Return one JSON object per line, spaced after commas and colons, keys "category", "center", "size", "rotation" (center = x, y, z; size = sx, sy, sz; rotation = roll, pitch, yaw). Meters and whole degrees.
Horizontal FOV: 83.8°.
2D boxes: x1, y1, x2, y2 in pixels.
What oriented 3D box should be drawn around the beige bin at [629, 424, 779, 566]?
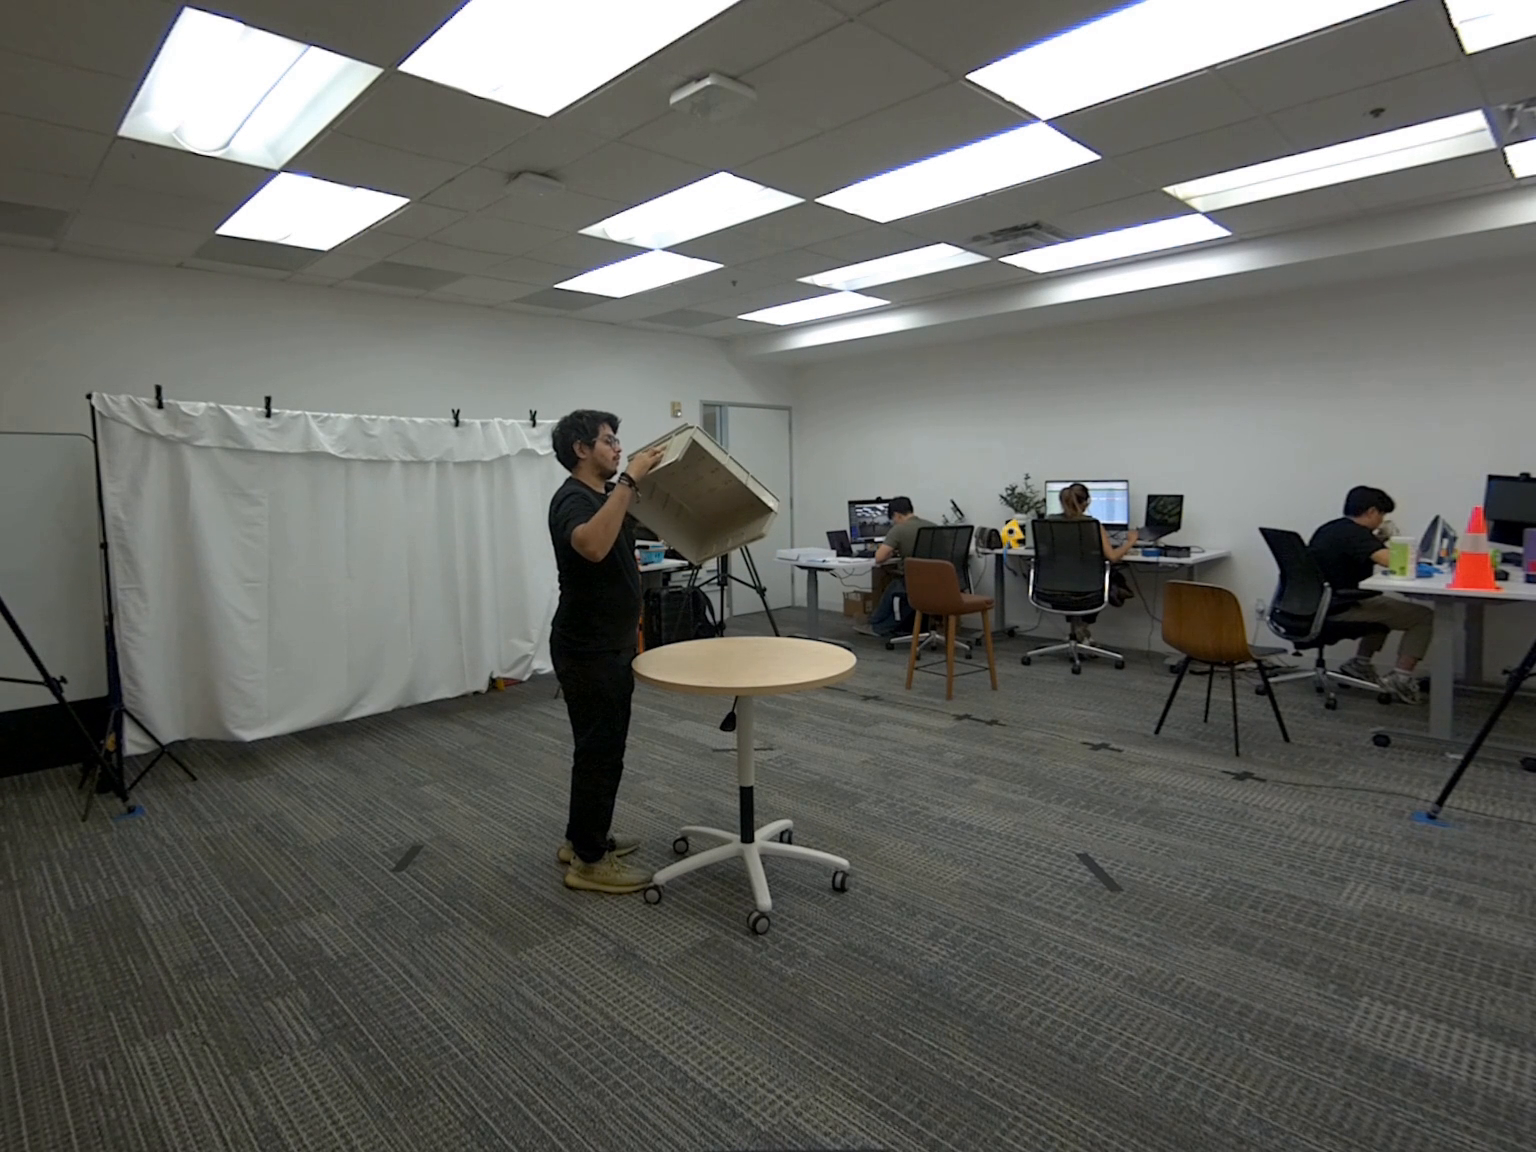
{"category": "beige bin", "center": [-0.234, -0.269, 2.839], "size": [0.384, 0.192, 0.408], "rotation": [-20, -48, 41]}
